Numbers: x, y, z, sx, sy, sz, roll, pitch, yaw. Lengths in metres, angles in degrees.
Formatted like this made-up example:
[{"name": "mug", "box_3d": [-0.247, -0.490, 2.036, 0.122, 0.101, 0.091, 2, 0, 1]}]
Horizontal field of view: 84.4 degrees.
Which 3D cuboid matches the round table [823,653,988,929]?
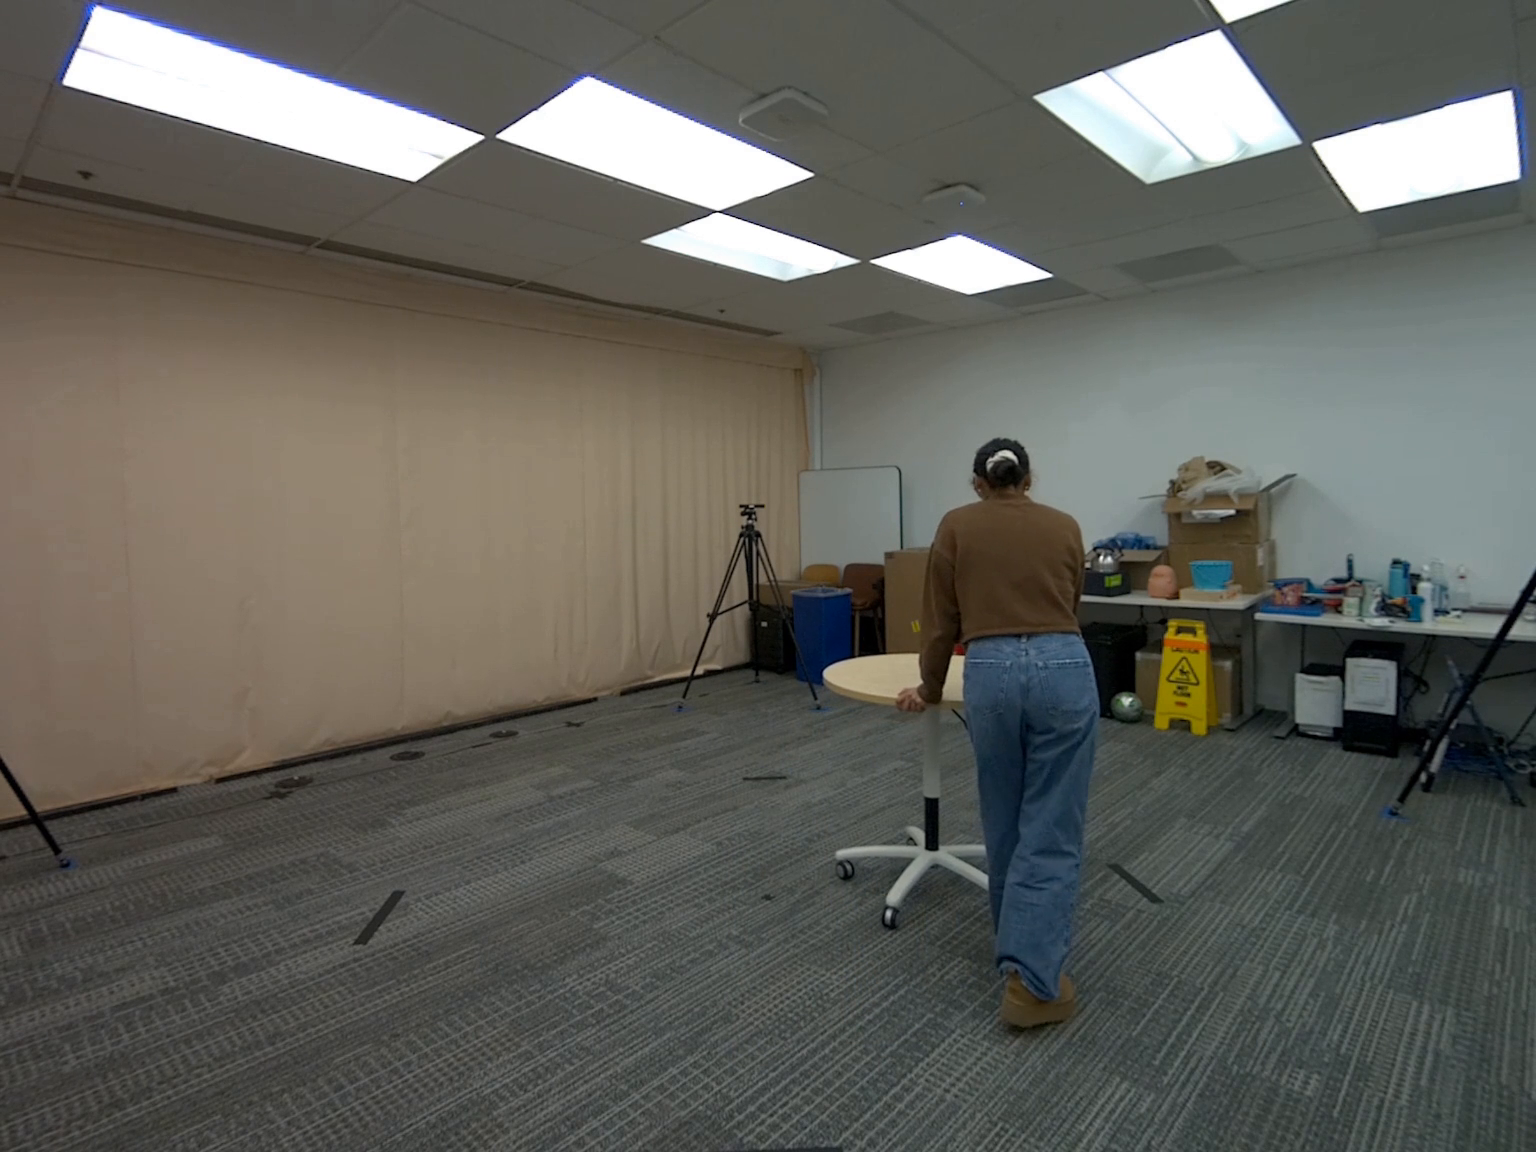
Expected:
[{"name": "round table", "box_3d": [0.592, 0.743, 3.016, 0.763, 0.792, 0.767, -1, 4, -2]}]
